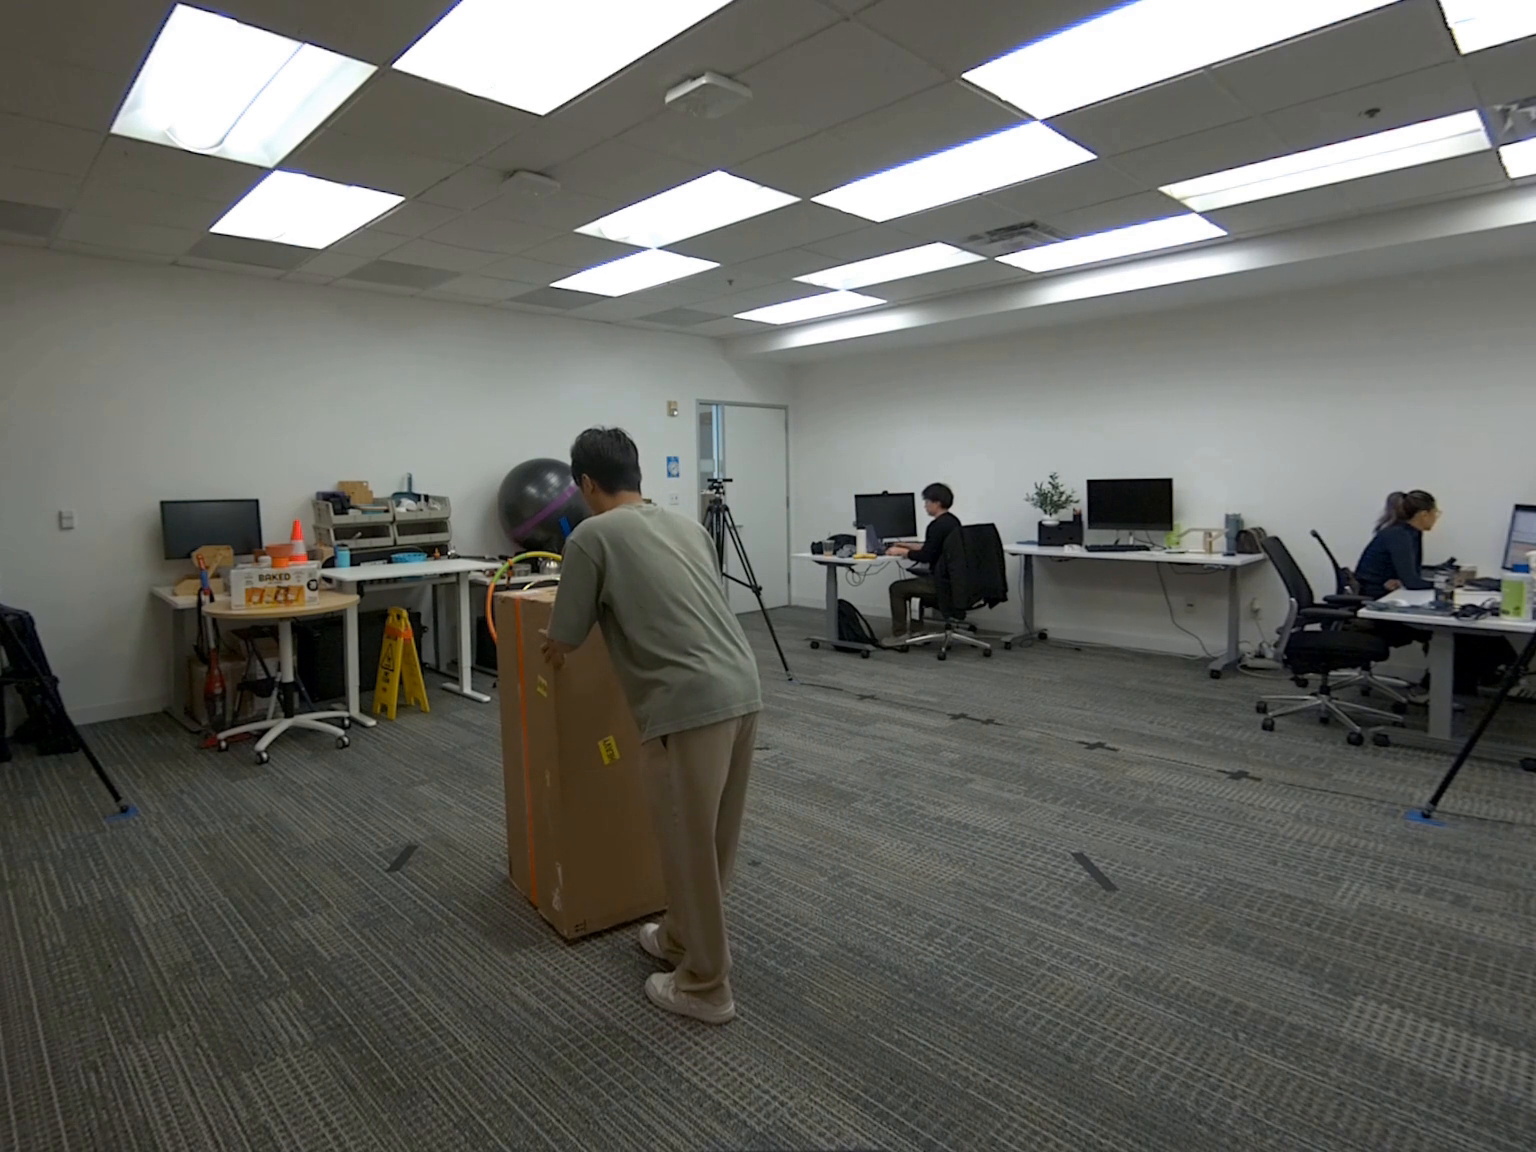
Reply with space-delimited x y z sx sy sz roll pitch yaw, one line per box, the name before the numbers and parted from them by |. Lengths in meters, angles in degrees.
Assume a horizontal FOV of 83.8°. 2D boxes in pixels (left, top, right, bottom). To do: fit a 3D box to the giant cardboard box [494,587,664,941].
giant cardboard box | -0.619 0.563 2.903 0.416 1.024 0.593 -4 3 -33
